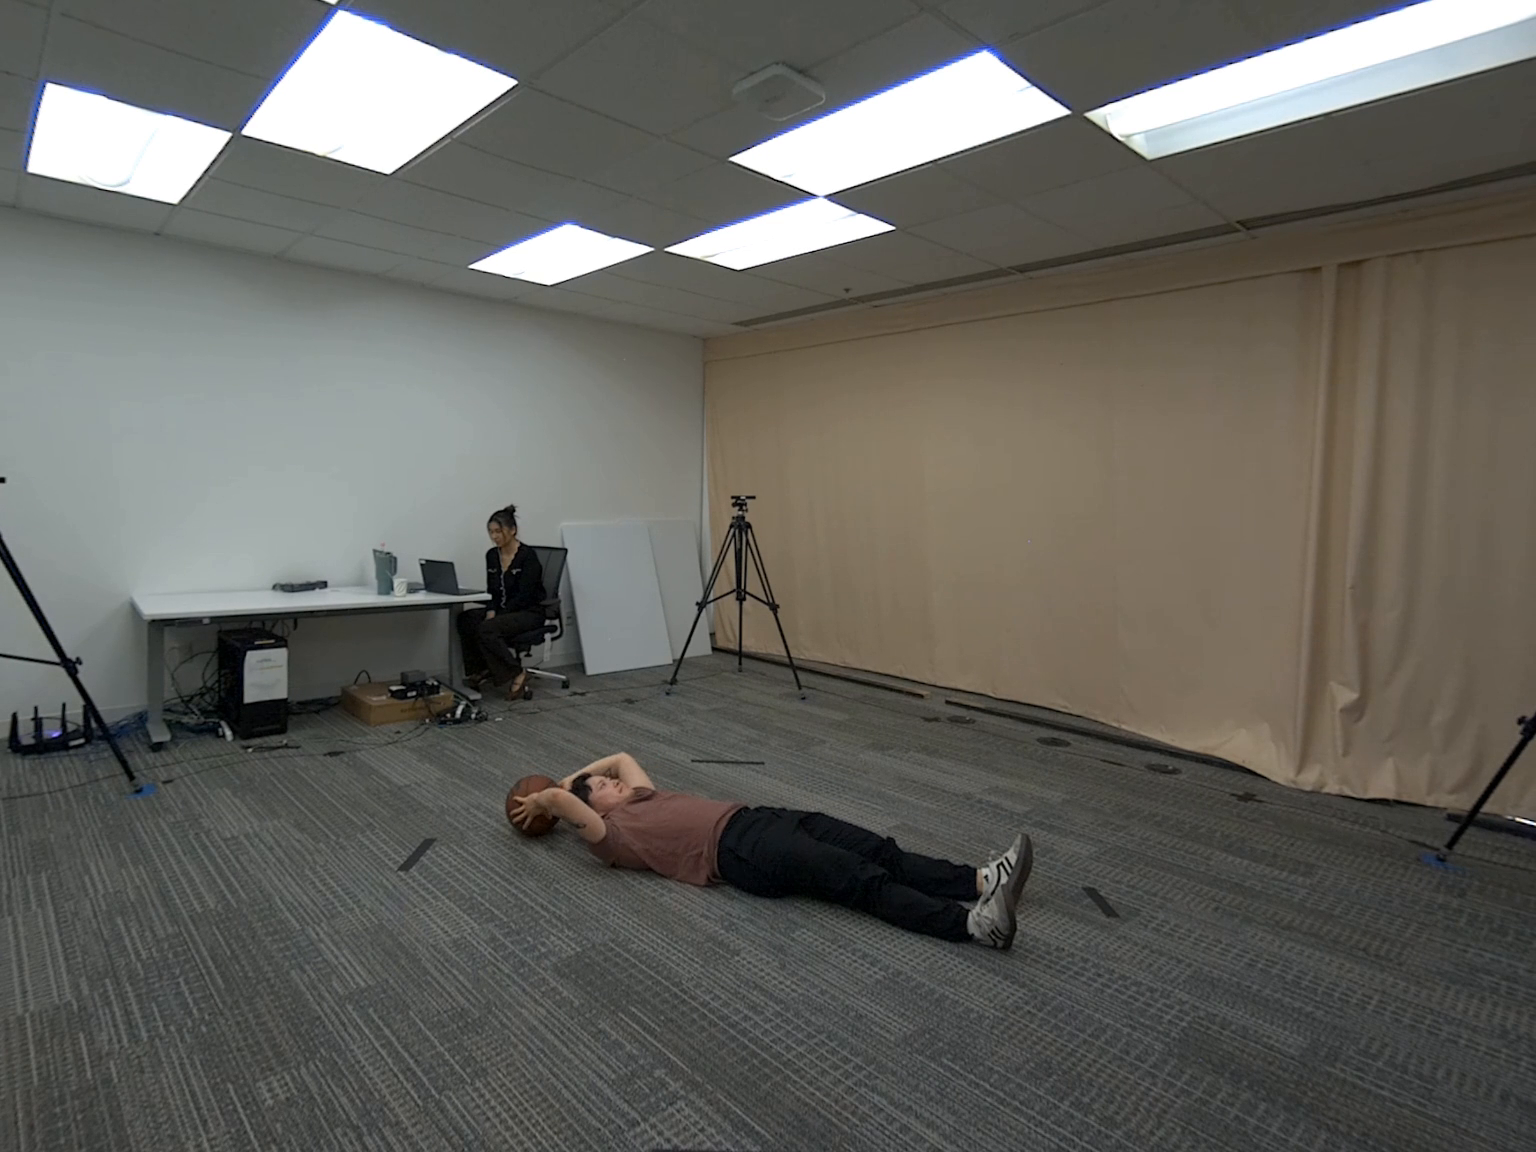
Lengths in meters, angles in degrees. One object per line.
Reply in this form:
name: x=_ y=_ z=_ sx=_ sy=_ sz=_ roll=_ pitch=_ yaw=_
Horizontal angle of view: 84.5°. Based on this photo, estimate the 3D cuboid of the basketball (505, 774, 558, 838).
basketball: x=-0.957 y=0.932 z=3.442 sx=0.236 sy=0.234 sz=0.237 roll=0 pitch=8 yaw=-1
